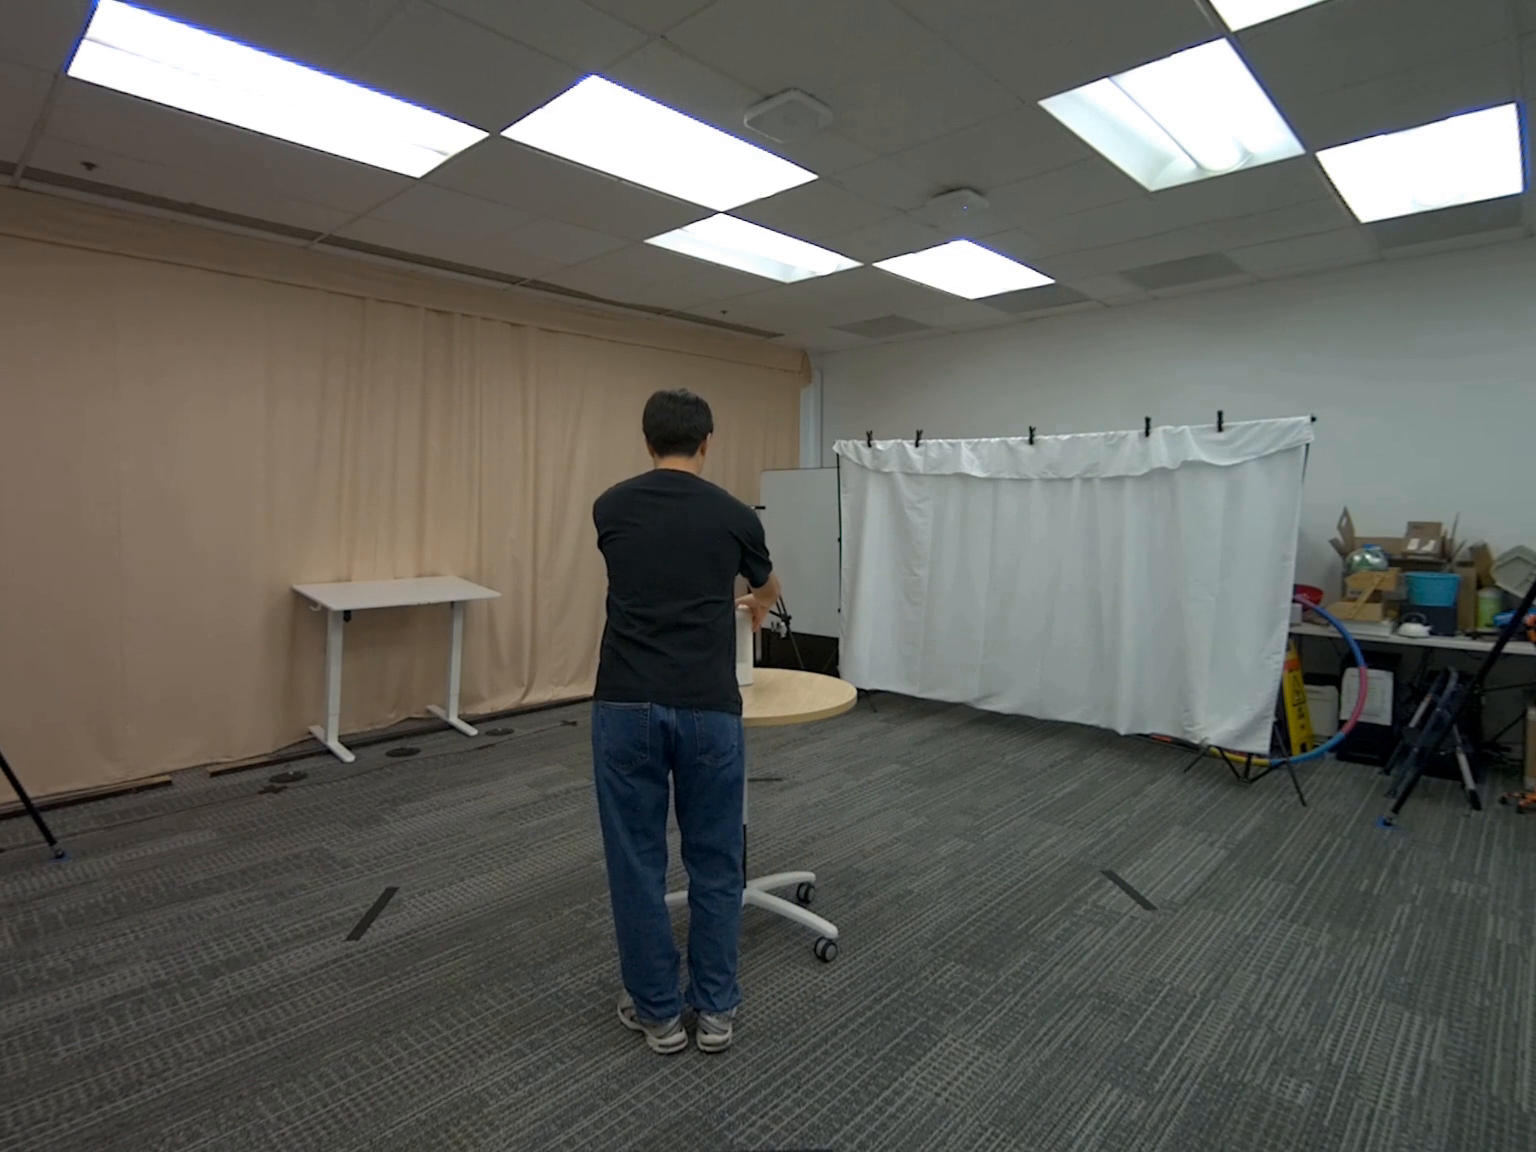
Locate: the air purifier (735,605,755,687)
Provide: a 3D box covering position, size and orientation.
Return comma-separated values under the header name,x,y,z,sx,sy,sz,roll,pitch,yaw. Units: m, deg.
name,x,y,z,sx,sy,sz,roll,pitch,yaw
air purifier,-0.145,0.229,2.845,0.168,0.265,0.174,-1,2,-19
